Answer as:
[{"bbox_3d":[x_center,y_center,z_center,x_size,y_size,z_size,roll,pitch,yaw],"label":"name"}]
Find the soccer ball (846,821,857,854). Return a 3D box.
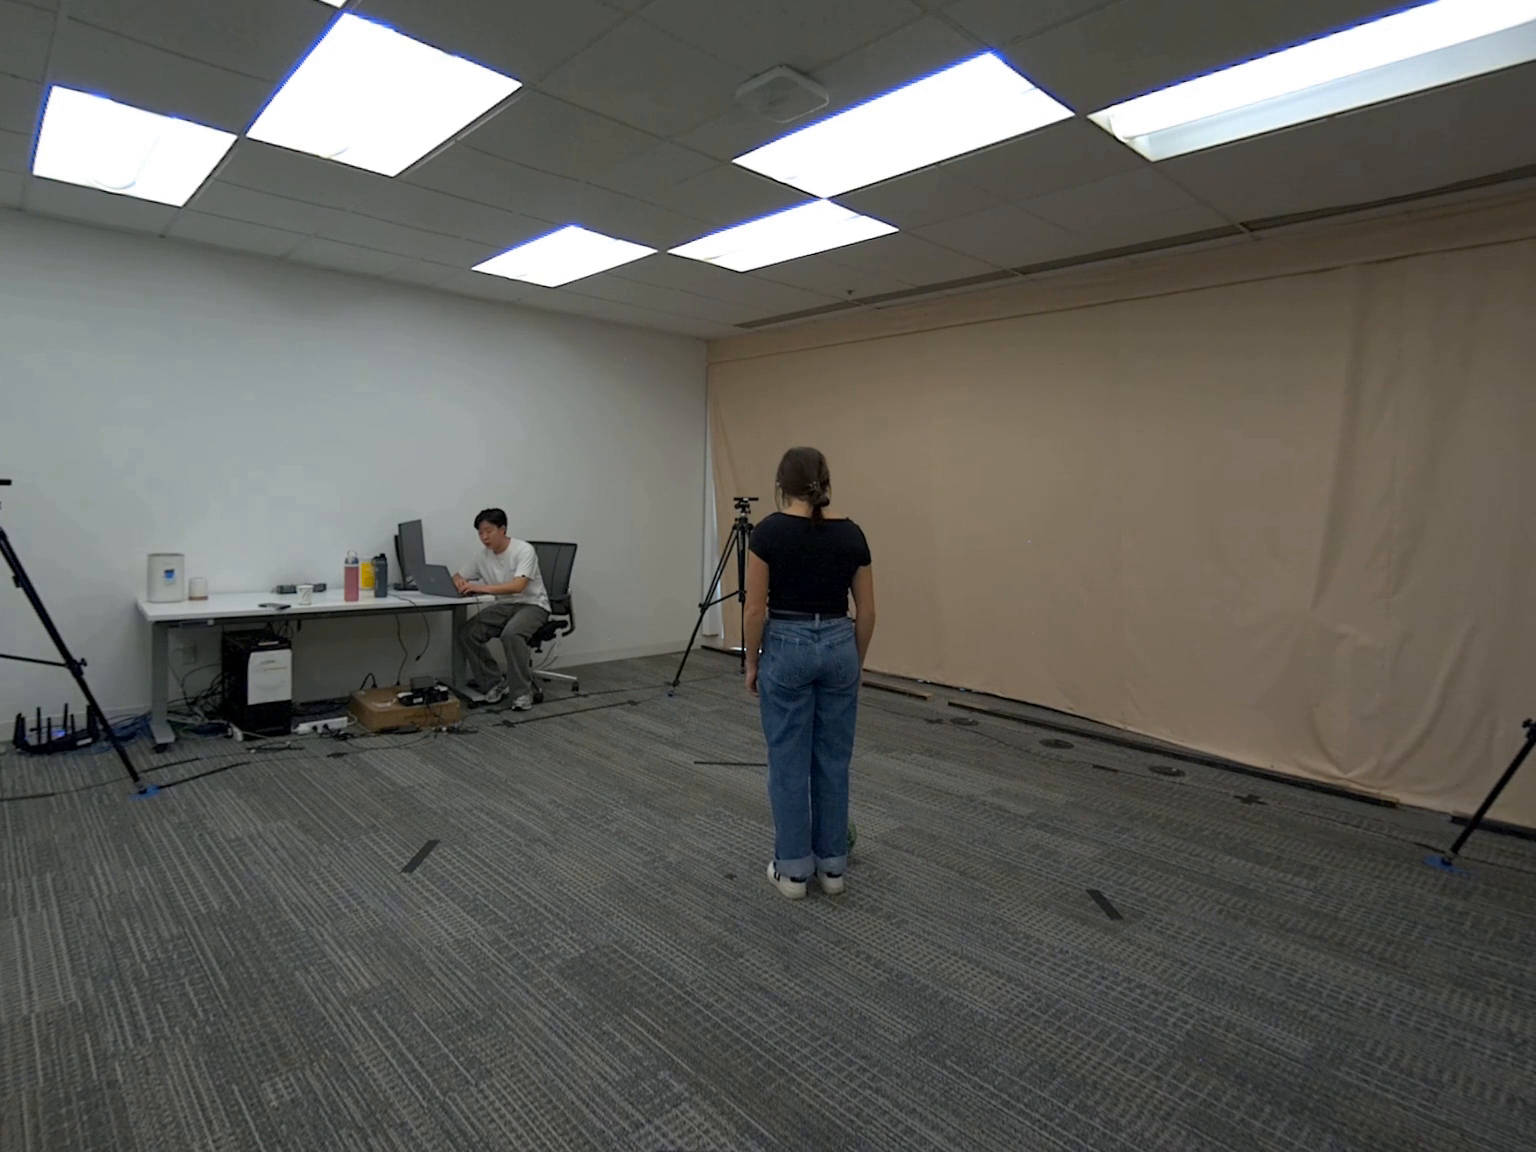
[{"bbox_3d":[0.247,1.019,3.285,0.187,0.187,0.188,1,4,-1],"label":"soccer ball"}]
